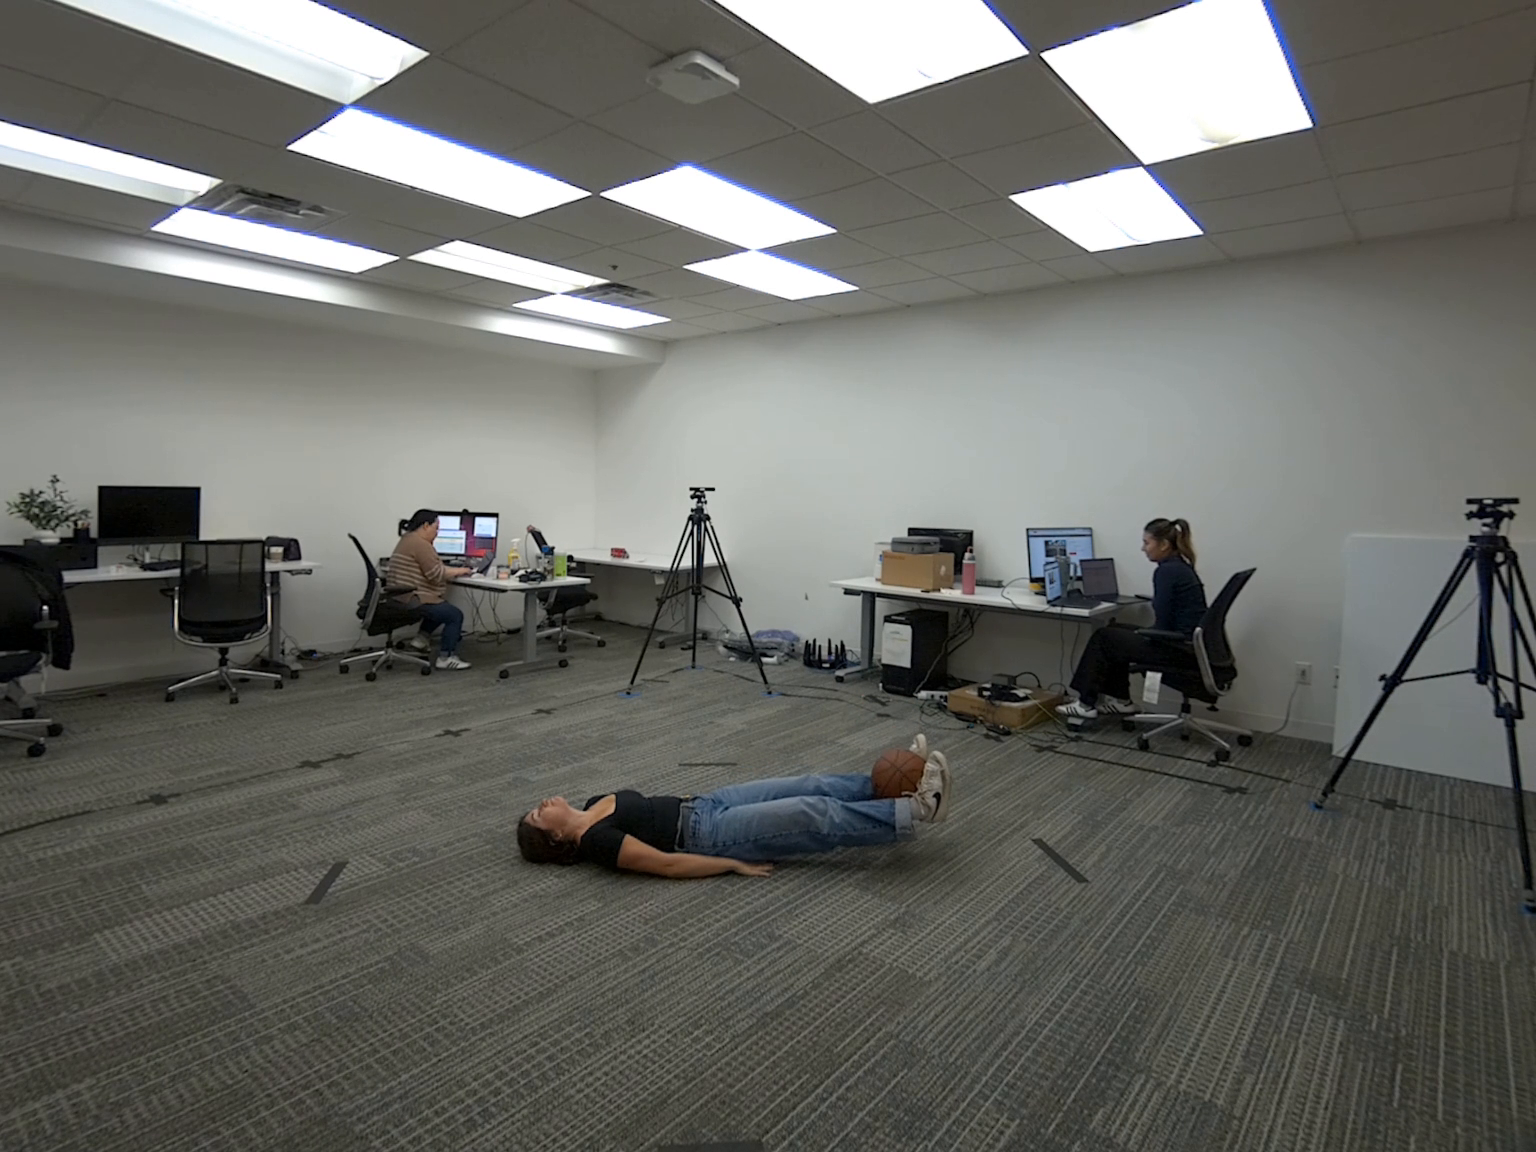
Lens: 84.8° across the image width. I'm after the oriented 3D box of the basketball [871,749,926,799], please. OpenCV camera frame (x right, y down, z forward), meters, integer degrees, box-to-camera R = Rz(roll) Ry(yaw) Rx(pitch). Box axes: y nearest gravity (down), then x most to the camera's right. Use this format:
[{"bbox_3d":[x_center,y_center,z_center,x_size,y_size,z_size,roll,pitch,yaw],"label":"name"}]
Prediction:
[{"bbox_3d":[0.511,0.787,3.313,0.235,0.235,0.237,1,4,-2],"label":"basketball"}]
